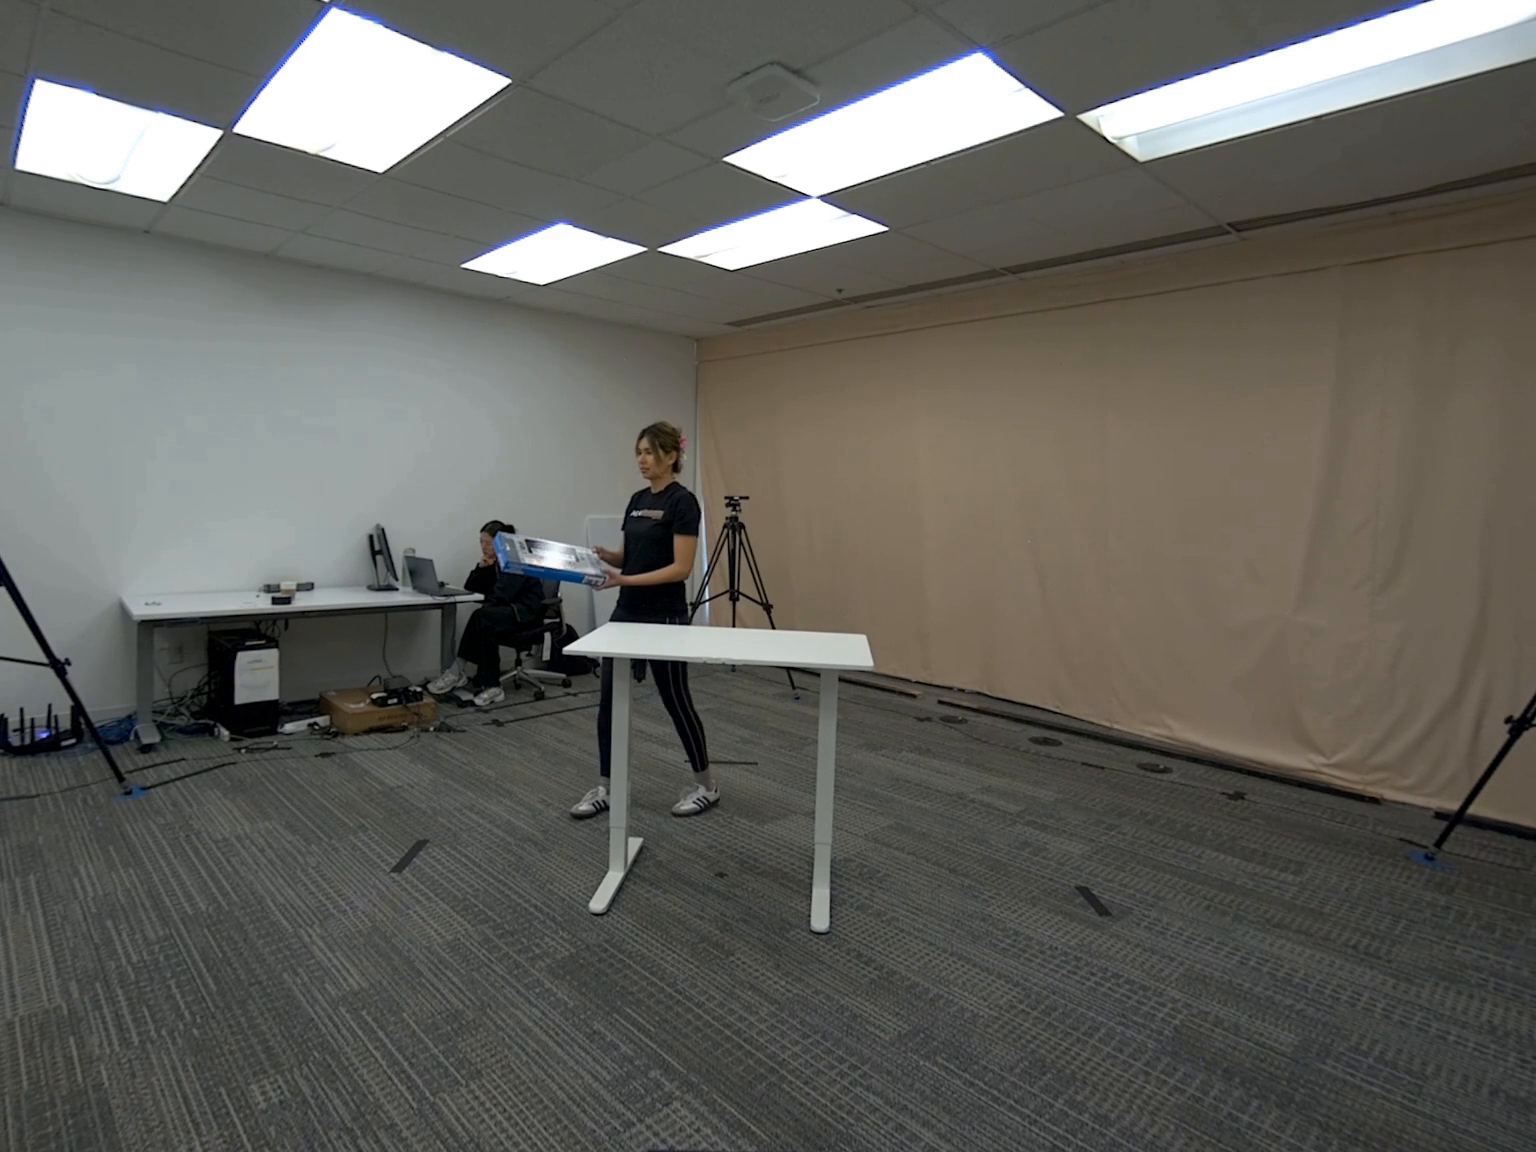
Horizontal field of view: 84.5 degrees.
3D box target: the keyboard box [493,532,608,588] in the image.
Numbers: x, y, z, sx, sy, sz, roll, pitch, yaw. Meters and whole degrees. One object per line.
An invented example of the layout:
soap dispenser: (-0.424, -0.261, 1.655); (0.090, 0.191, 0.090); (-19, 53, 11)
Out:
keyboard box: (-0.860, -0.060, 3.335); (0.425, 0.059, 0.181); (11, 35, -41)
